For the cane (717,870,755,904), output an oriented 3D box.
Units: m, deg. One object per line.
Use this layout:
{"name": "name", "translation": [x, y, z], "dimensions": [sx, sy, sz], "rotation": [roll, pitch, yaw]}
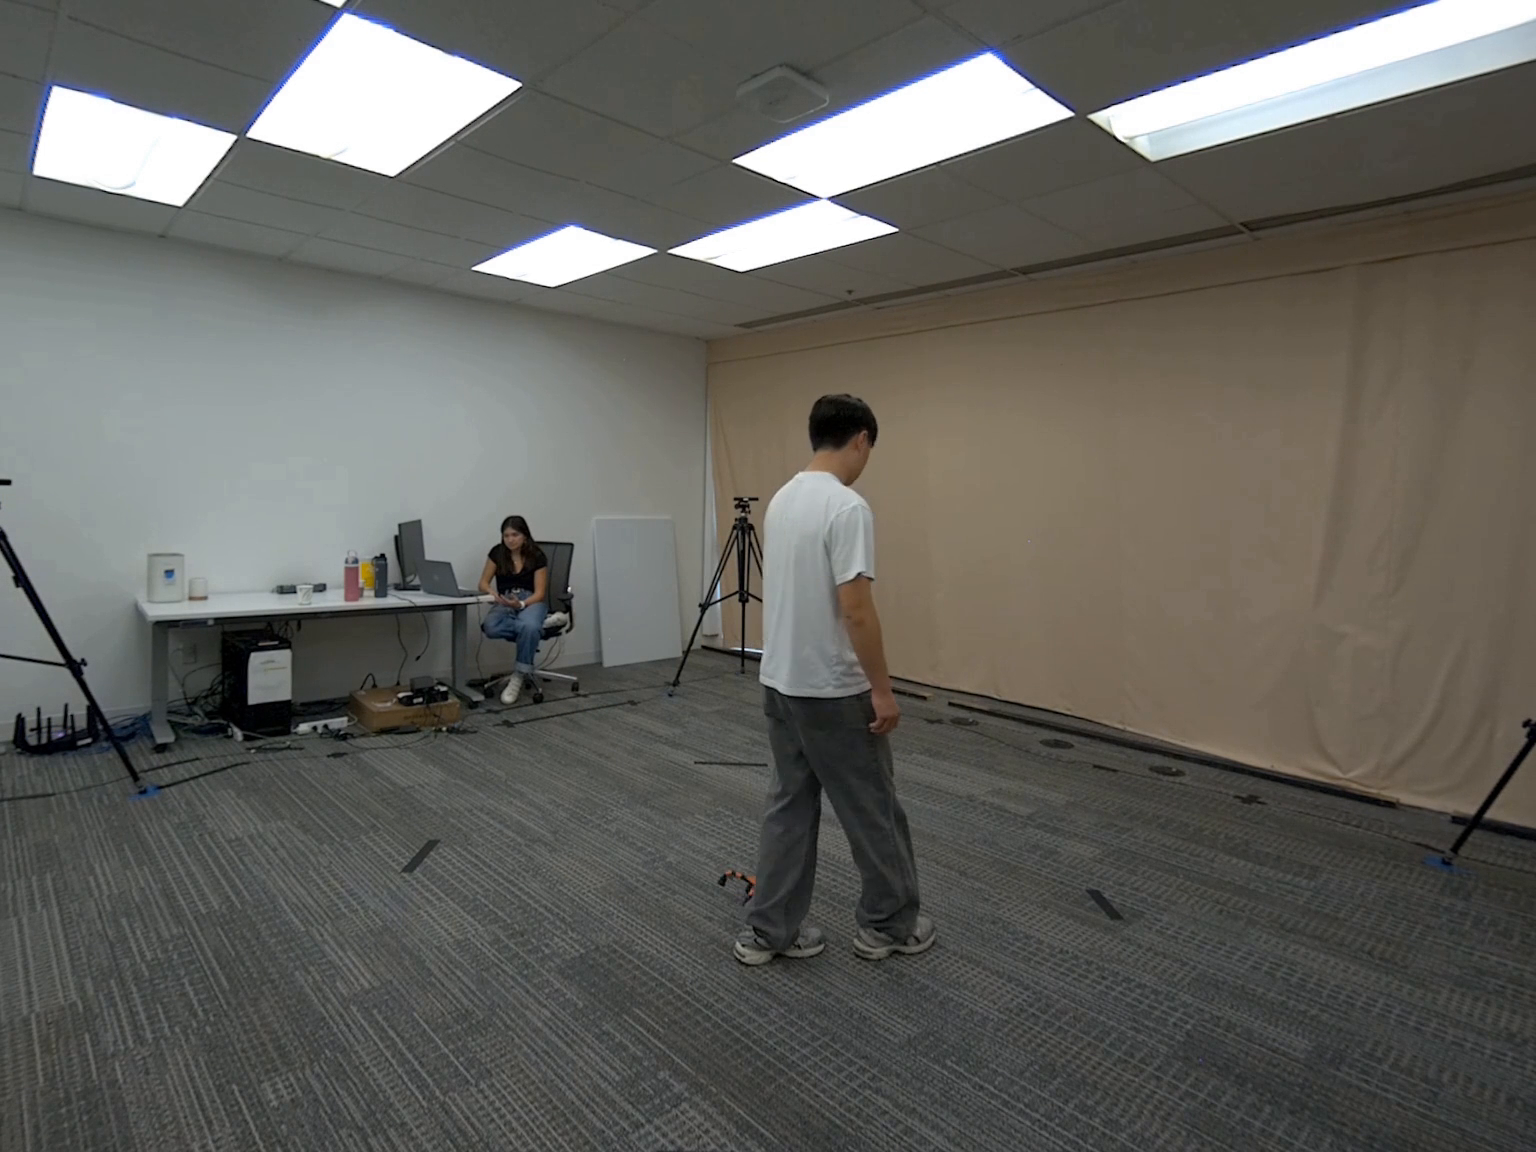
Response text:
{"name": "cane", "translation": [0.096, 0.697, 2.926], "dimensions": [0.148, 0.910, 0.210], "rotation": [27, -9, -24]}
